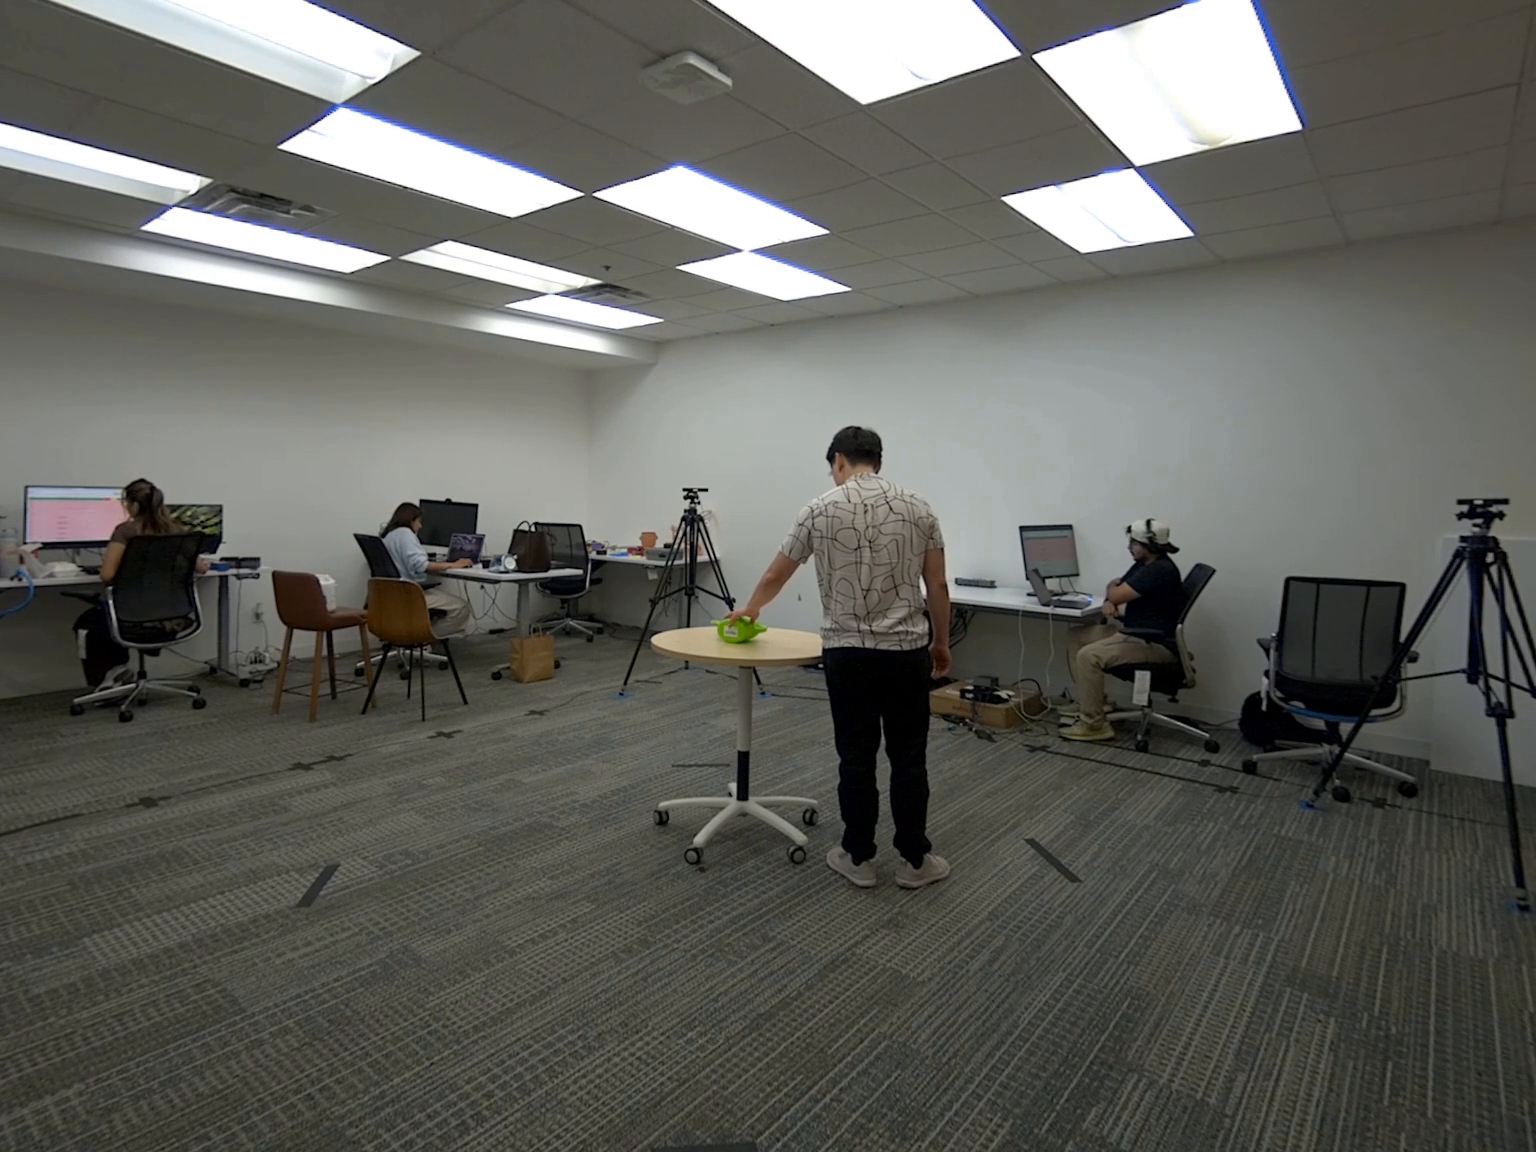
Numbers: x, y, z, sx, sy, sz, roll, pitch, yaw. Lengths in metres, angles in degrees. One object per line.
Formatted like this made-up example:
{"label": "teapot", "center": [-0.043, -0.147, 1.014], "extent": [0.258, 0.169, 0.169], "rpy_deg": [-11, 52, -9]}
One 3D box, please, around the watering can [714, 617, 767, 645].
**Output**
{"label": "watering can", "center": [-0.154, 0.217, 3.451], "extent": [0.285, 0.098, 0.172], "rpy_deg": [-9, -1, 30]}
